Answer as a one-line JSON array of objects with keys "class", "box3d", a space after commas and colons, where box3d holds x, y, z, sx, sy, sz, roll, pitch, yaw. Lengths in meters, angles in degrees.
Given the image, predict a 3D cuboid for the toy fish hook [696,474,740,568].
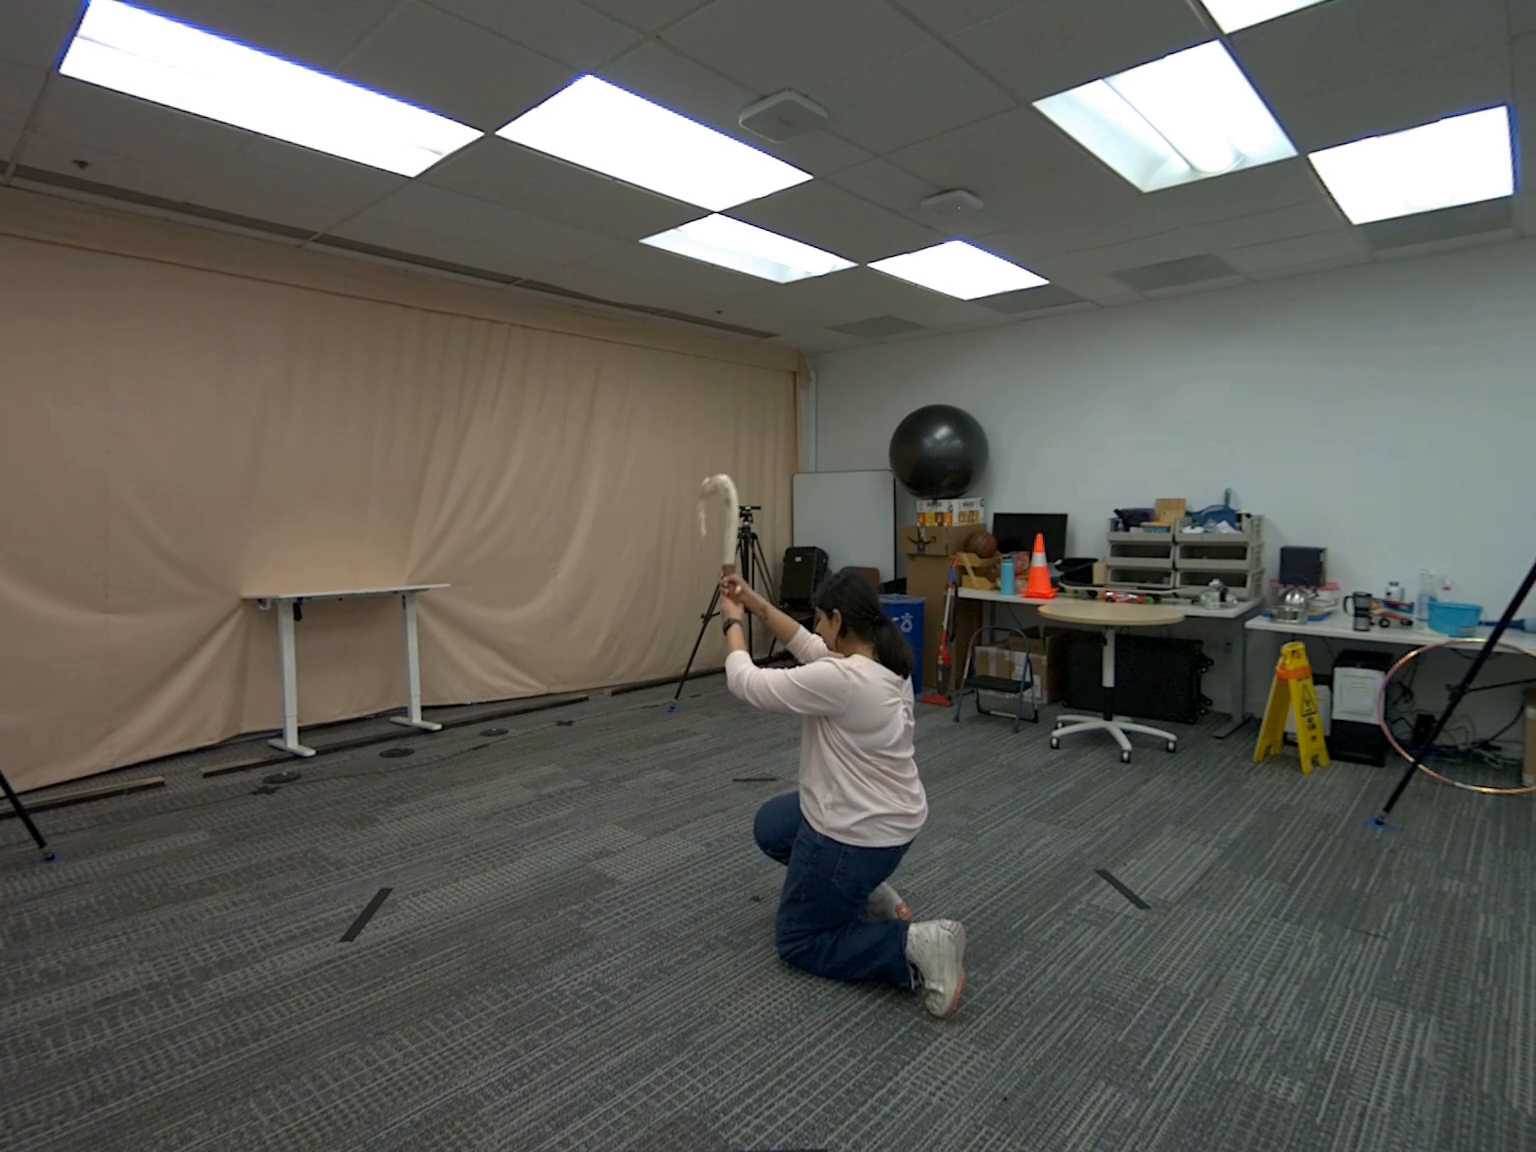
[{"class": "toy fish hook", "box3d": [-0.148, -0.065, 2.835, 0.047, 0.508, 0.230, -1, -6, -34]}]
